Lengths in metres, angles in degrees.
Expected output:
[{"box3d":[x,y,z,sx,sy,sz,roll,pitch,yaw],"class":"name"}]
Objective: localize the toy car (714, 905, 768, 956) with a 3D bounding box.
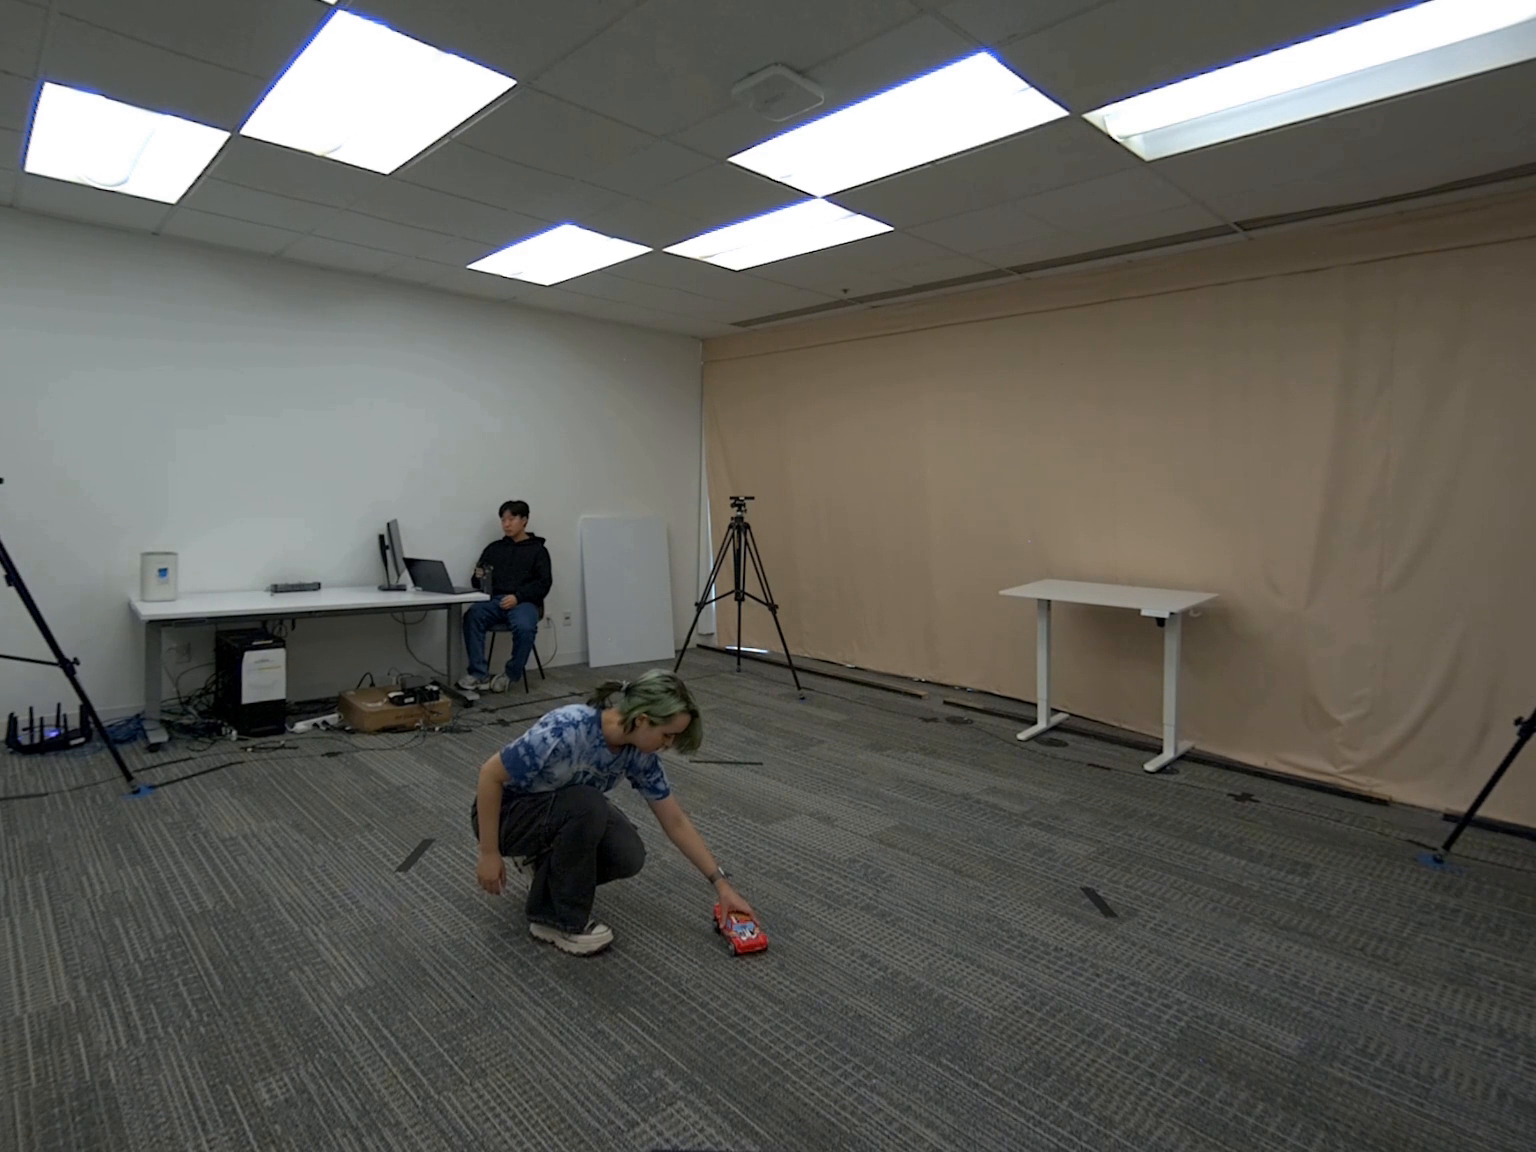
[{"box3d":[-0.106,1.115,2.662,0.128,0.082,0.261,-1,16,-21],"class":"toy car"}]
